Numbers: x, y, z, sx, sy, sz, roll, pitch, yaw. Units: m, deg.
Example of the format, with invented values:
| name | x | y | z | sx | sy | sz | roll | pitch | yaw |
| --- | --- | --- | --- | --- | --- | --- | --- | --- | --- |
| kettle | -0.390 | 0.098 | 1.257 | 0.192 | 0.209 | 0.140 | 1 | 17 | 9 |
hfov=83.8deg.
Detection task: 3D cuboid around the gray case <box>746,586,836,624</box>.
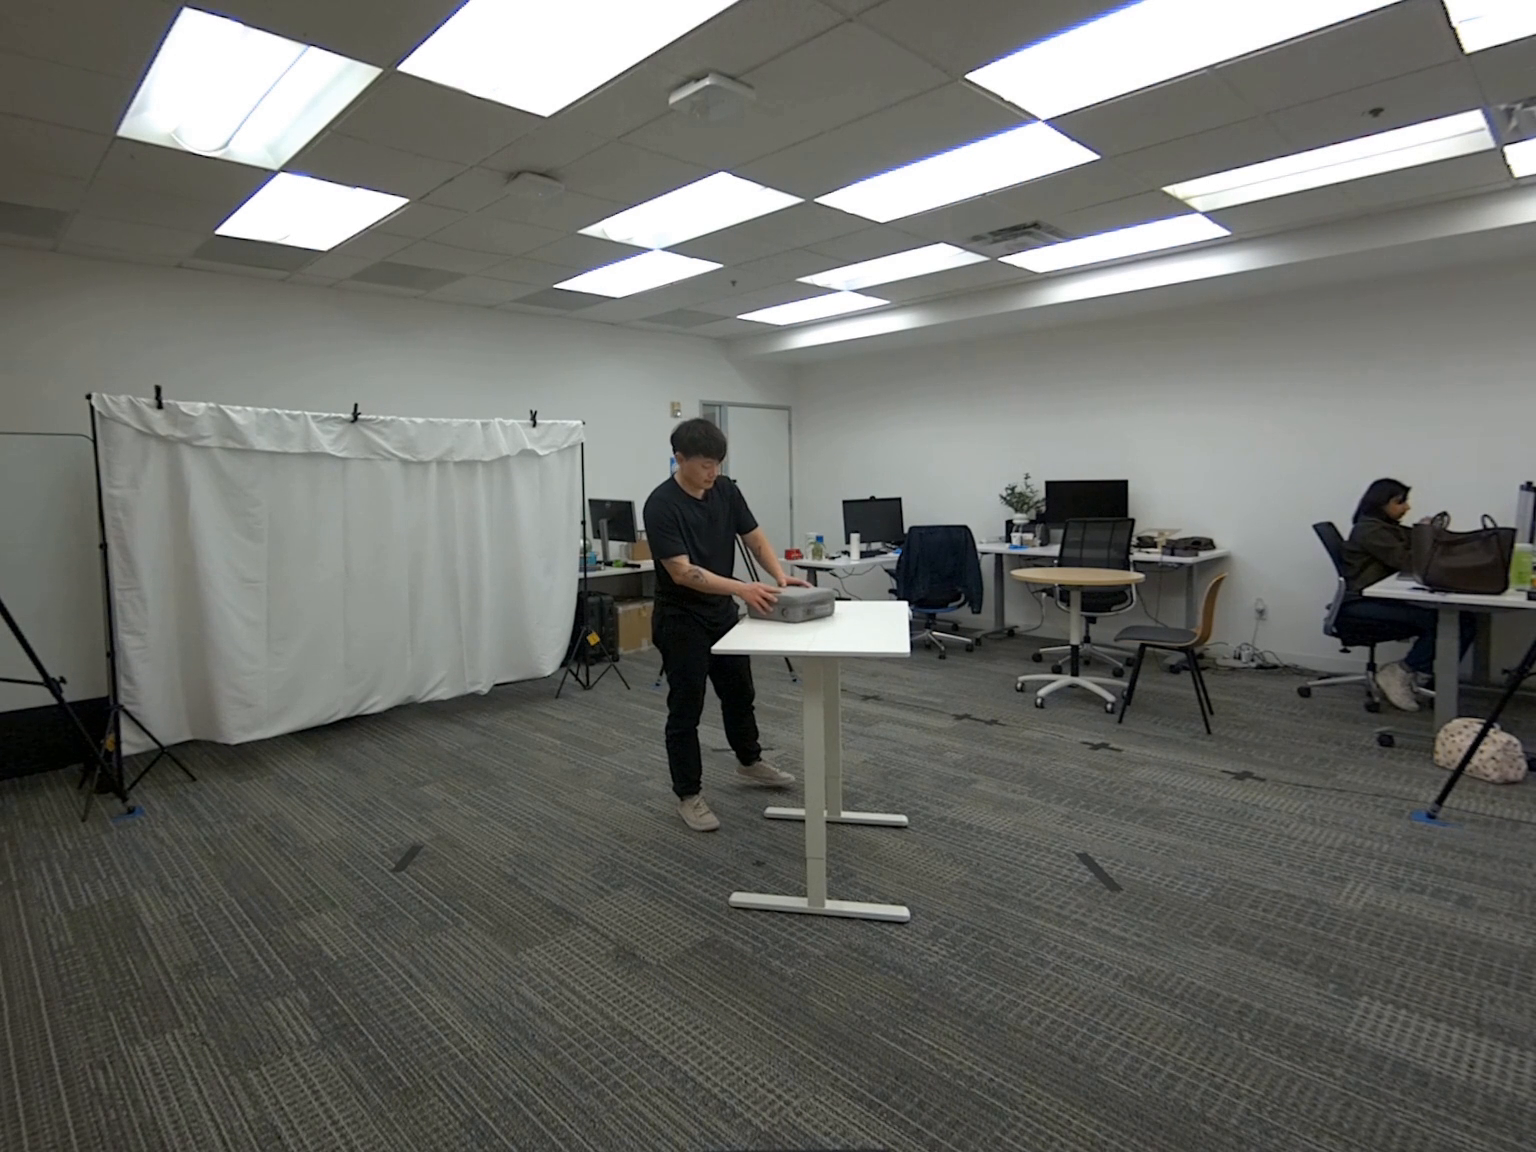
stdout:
| name | x | y | z | sx | sy | sz | roll | pitch | yaw |
| --- | --- | --- | --- | --- | --- | --- | --- | --- | --- |
| gray case | 0.098 | 0.102 | 3.196 | 0.269 | 0.104 | 0.250 | 5 | 7 | 42 |
